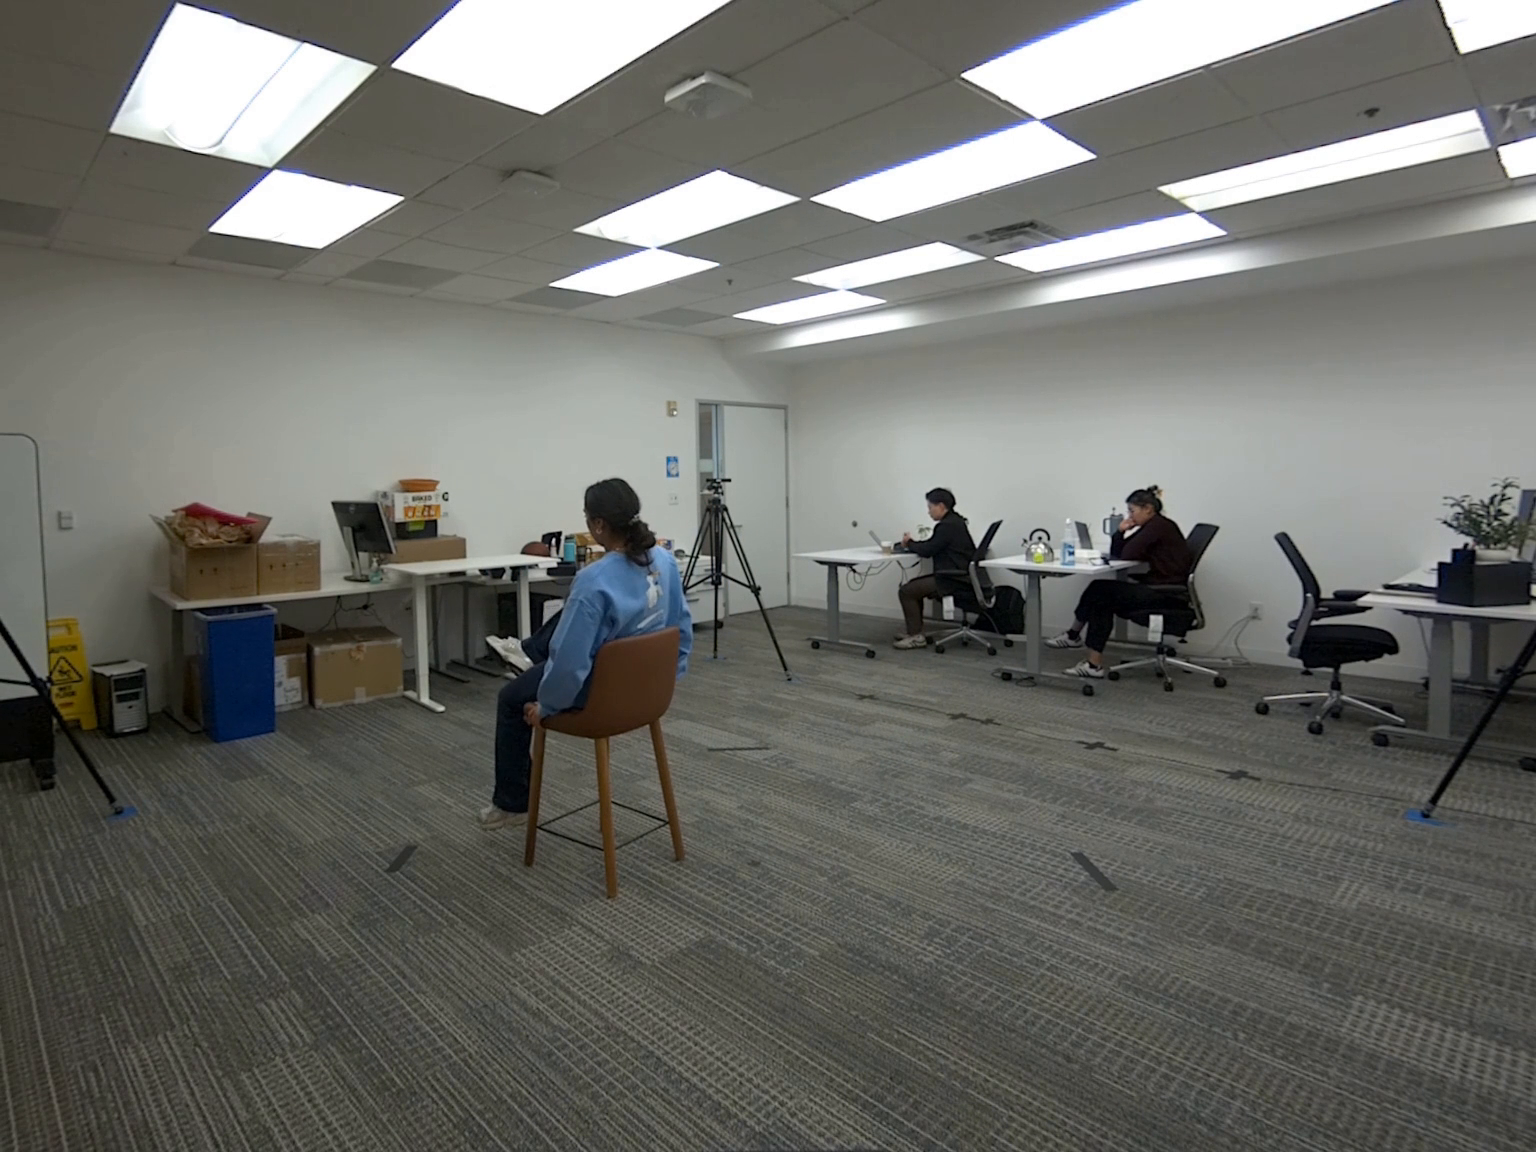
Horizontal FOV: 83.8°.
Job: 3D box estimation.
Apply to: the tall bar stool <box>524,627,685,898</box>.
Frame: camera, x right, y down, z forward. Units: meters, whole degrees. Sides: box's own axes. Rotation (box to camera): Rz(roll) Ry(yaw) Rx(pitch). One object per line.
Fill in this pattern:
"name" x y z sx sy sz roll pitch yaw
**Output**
"tall bar stool" -0.590 0.615 3.112 0.482 0.885 0.445 5 7 37
